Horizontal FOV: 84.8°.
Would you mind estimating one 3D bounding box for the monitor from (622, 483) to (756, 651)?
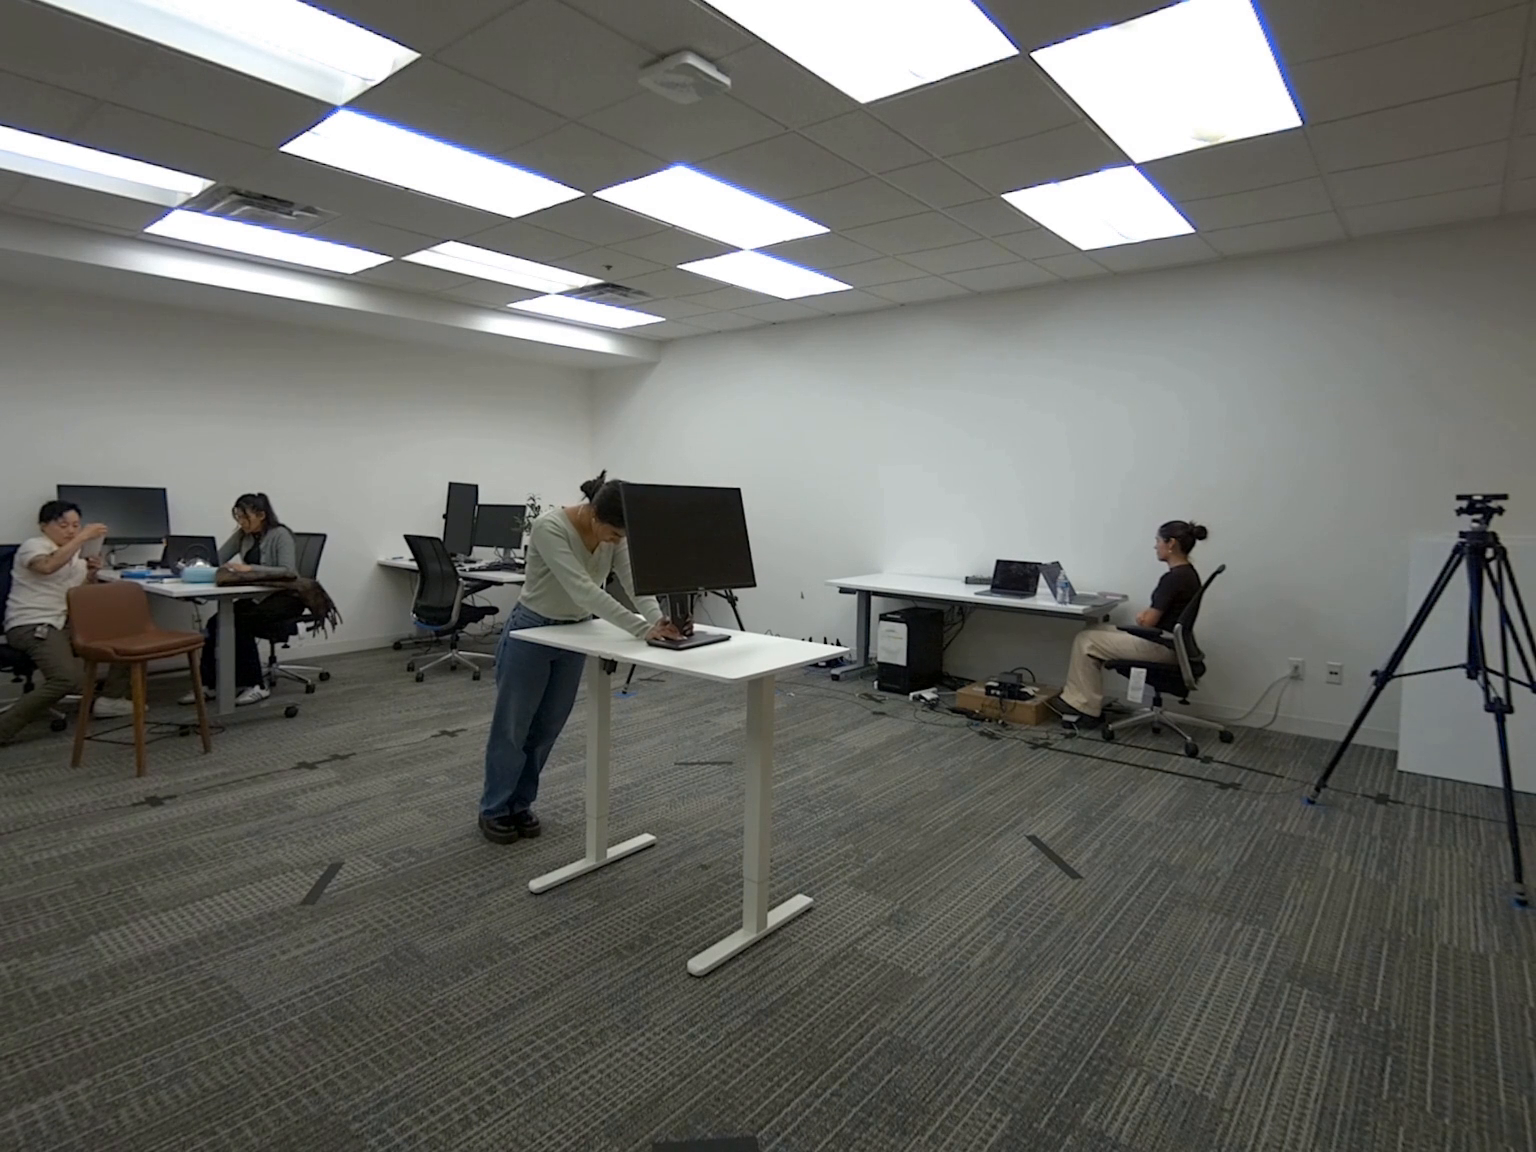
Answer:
[{"bbox_3d":[-0.277,-0.038,2.788,0.193,0.522,0.523,1,2,40],"label":"monitor"}]
